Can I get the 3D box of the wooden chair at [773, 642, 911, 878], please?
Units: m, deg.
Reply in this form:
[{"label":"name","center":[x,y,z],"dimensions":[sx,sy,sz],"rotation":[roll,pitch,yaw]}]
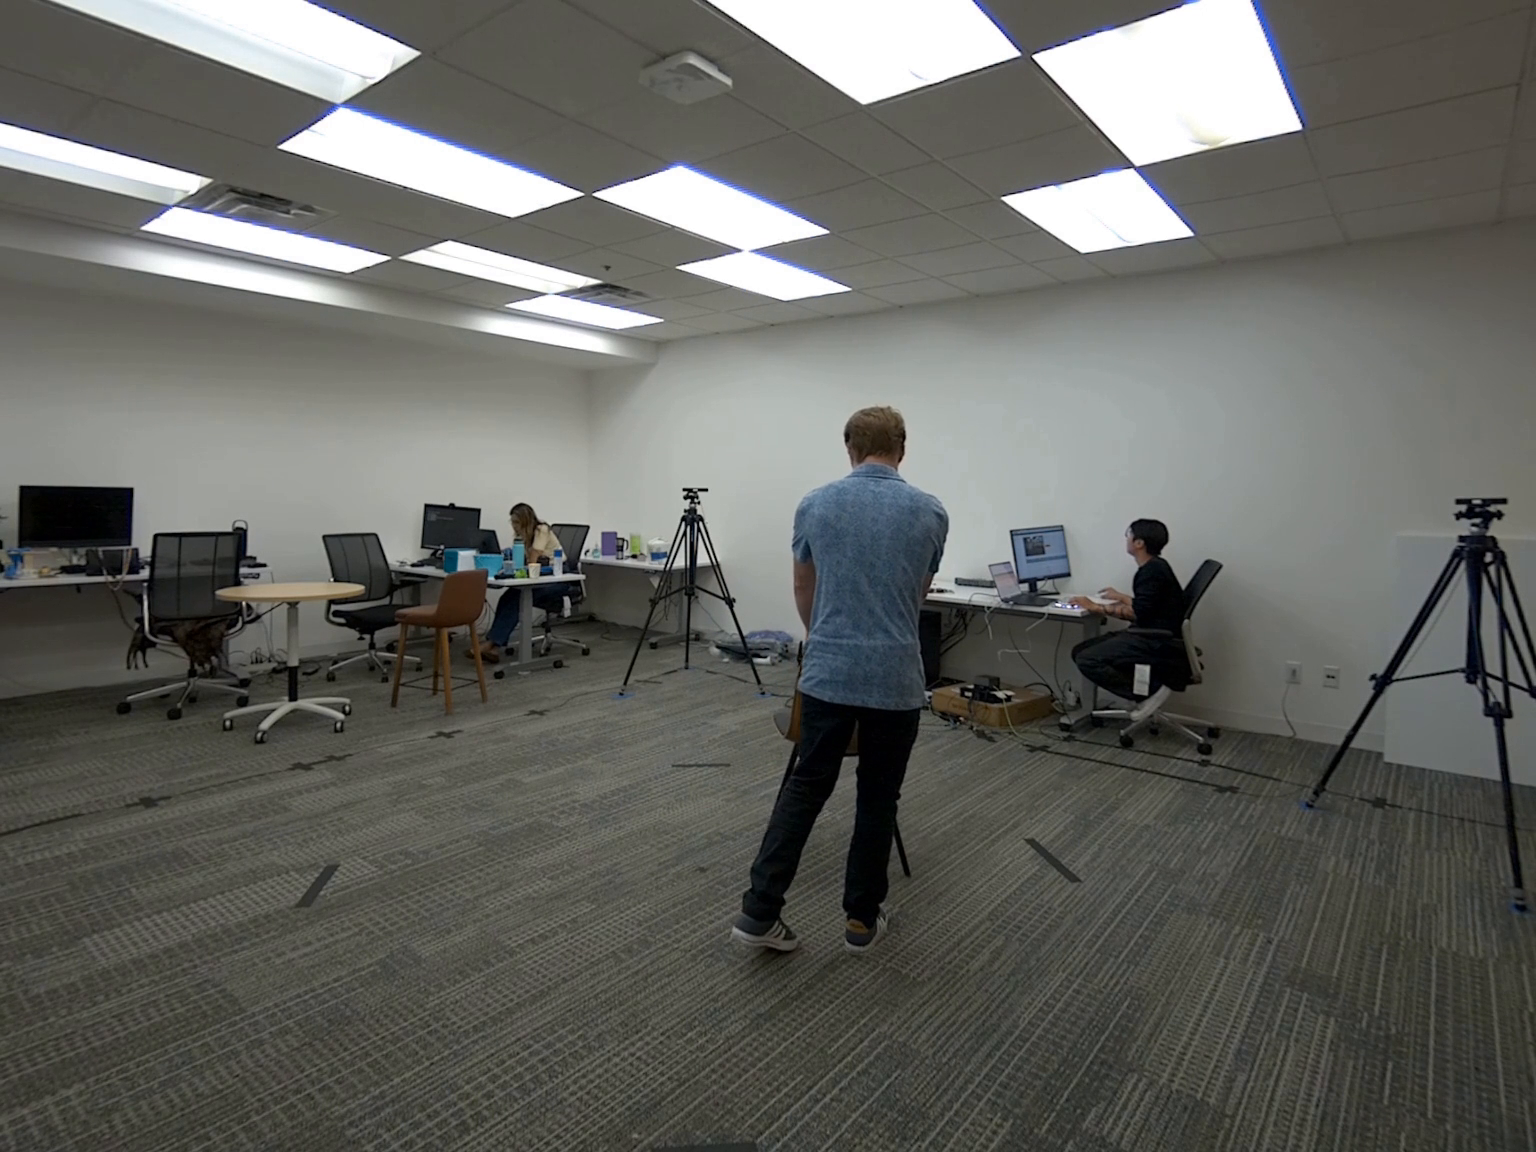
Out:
[{"label":"wooden chair","center":[0.251,0.630,3.263],"dimensions":[0.474,0.871,0.532],"rotation":[1,8,-9]}]
